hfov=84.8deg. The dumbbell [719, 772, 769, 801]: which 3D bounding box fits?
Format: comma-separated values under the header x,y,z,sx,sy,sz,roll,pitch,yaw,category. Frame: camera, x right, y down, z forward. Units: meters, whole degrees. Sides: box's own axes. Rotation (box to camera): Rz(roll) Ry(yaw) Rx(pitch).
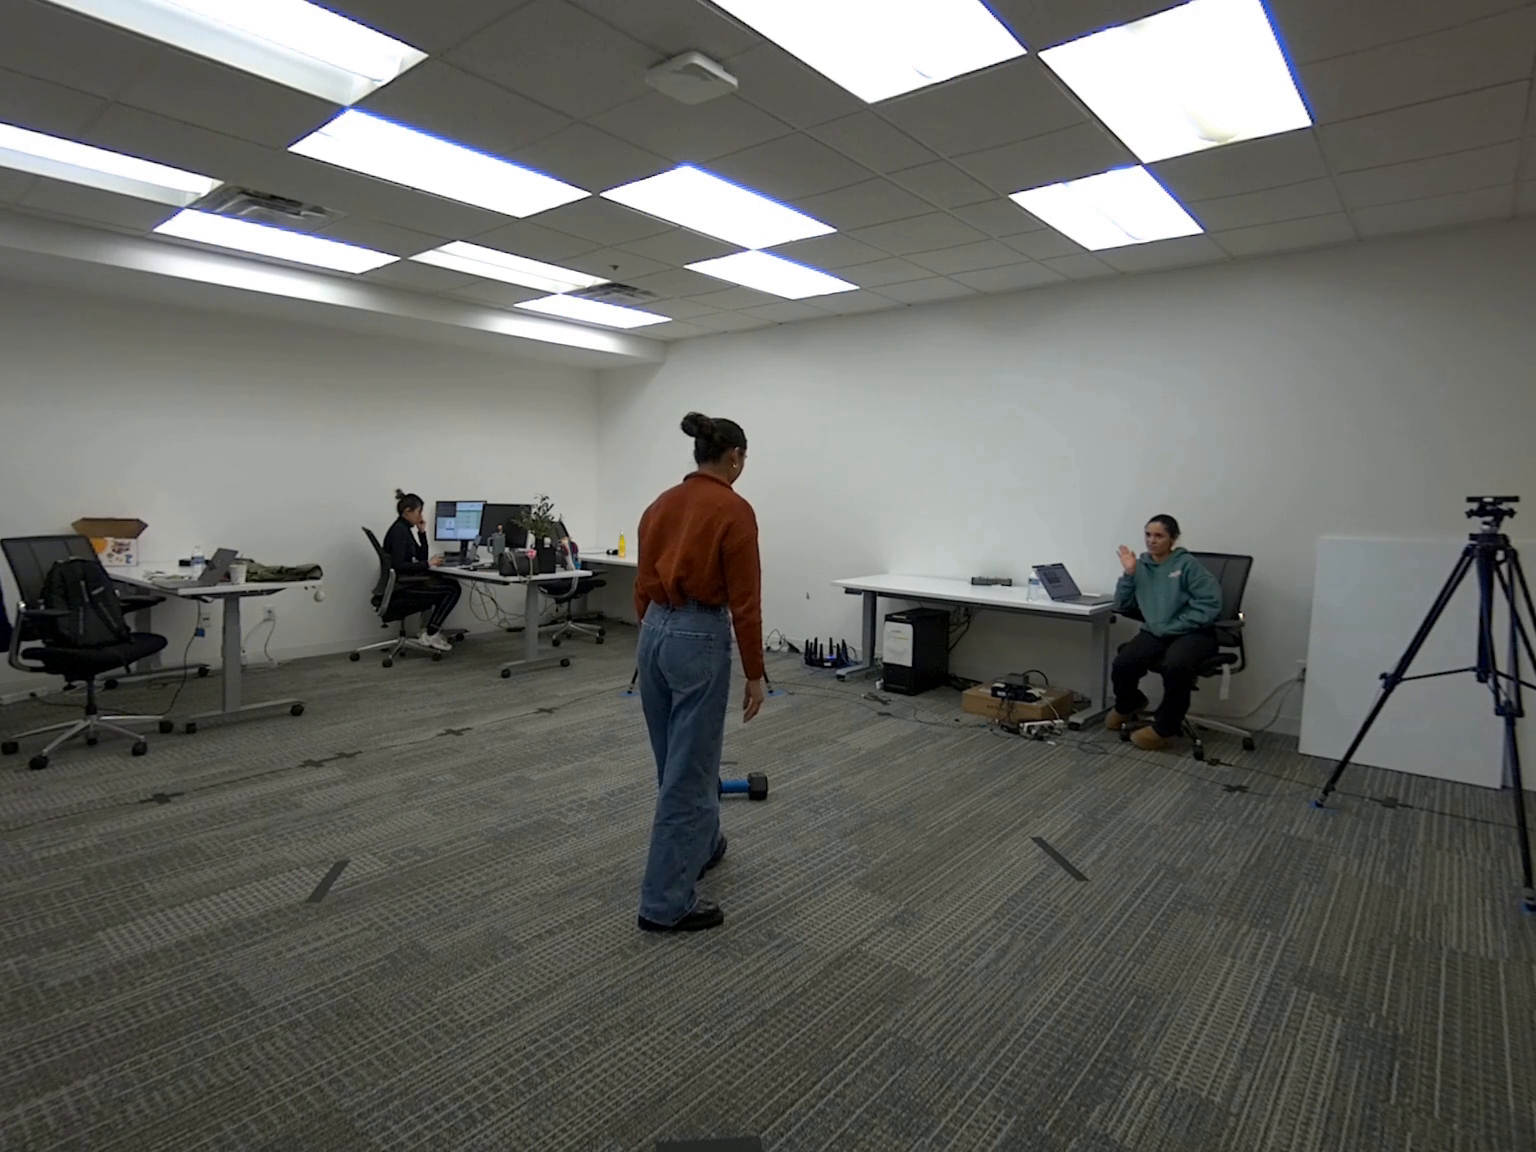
x,y,z,sx,sy,sz,roll,pitch,yaw,category
-0.157,0.942,3.822,0.292,0.120,0.112,0,34,-6,dumbbell
